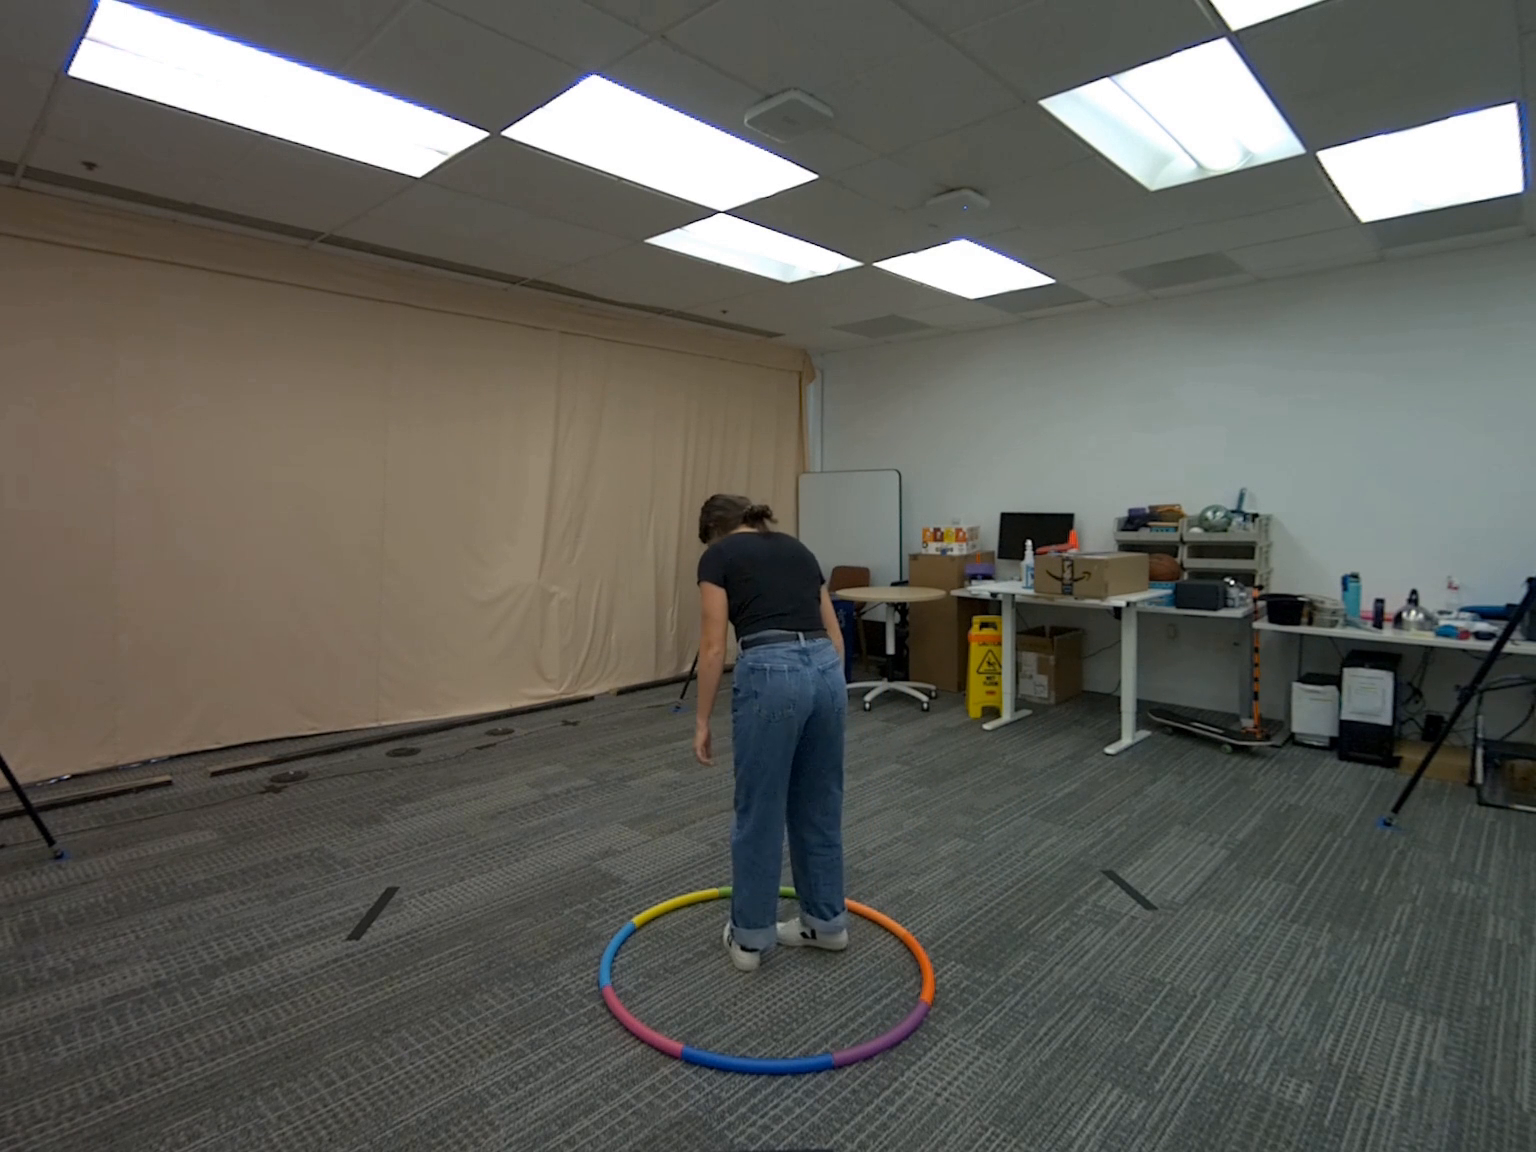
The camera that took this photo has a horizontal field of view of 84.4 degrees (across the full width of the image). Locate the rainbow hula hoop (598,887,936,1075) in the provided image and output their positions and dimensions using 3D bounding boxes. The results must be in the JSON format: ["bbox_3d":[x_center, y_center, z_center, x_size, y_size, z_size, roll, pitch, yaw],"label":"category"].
[{"bbox_3d":[0.000,1.152,2.542,0.978,0.035,0.982,-1,5,-2],"label":"rainbow hula hoop"}]
